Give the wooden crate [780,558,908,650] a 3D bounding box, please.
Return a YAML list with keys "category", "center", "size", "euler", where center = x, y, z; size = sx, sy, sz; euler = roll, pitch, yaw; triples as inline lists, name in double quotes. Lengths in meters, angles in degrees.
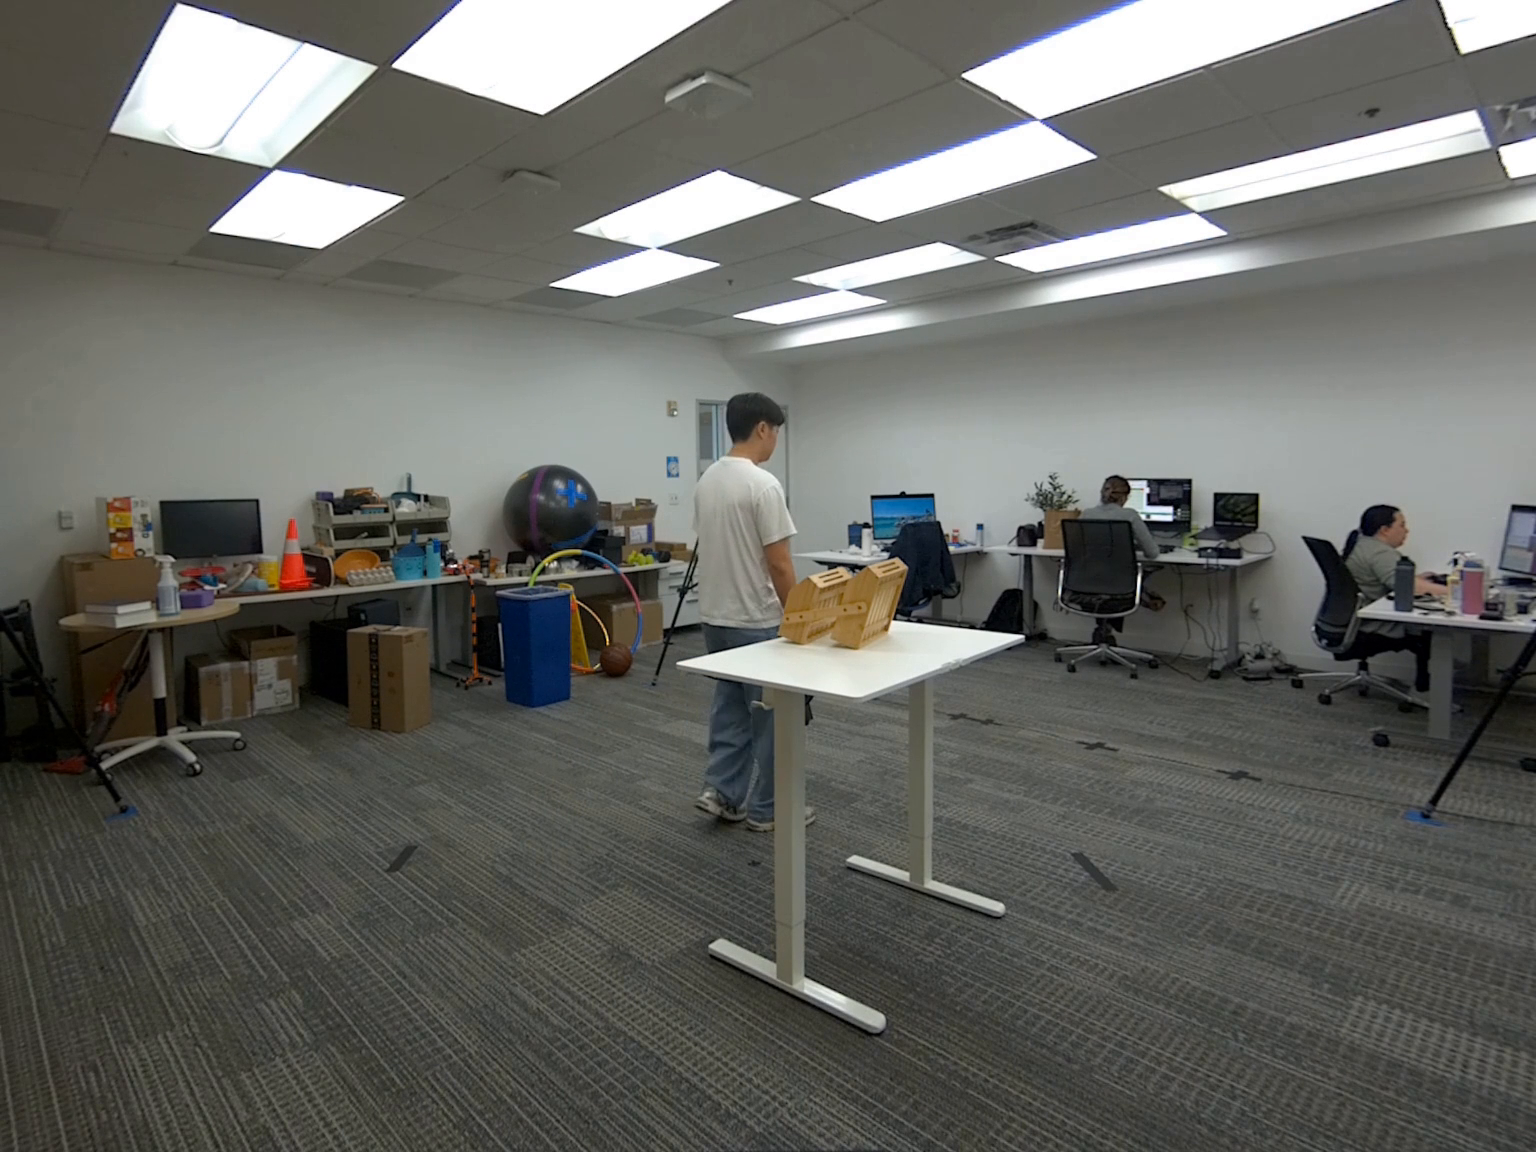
- category: "wooden crate"
  center: [0.244, 0.068, 2.713]
  size: [0.281, 0.300, 0.318]
  euler: [20, 13, 23]
